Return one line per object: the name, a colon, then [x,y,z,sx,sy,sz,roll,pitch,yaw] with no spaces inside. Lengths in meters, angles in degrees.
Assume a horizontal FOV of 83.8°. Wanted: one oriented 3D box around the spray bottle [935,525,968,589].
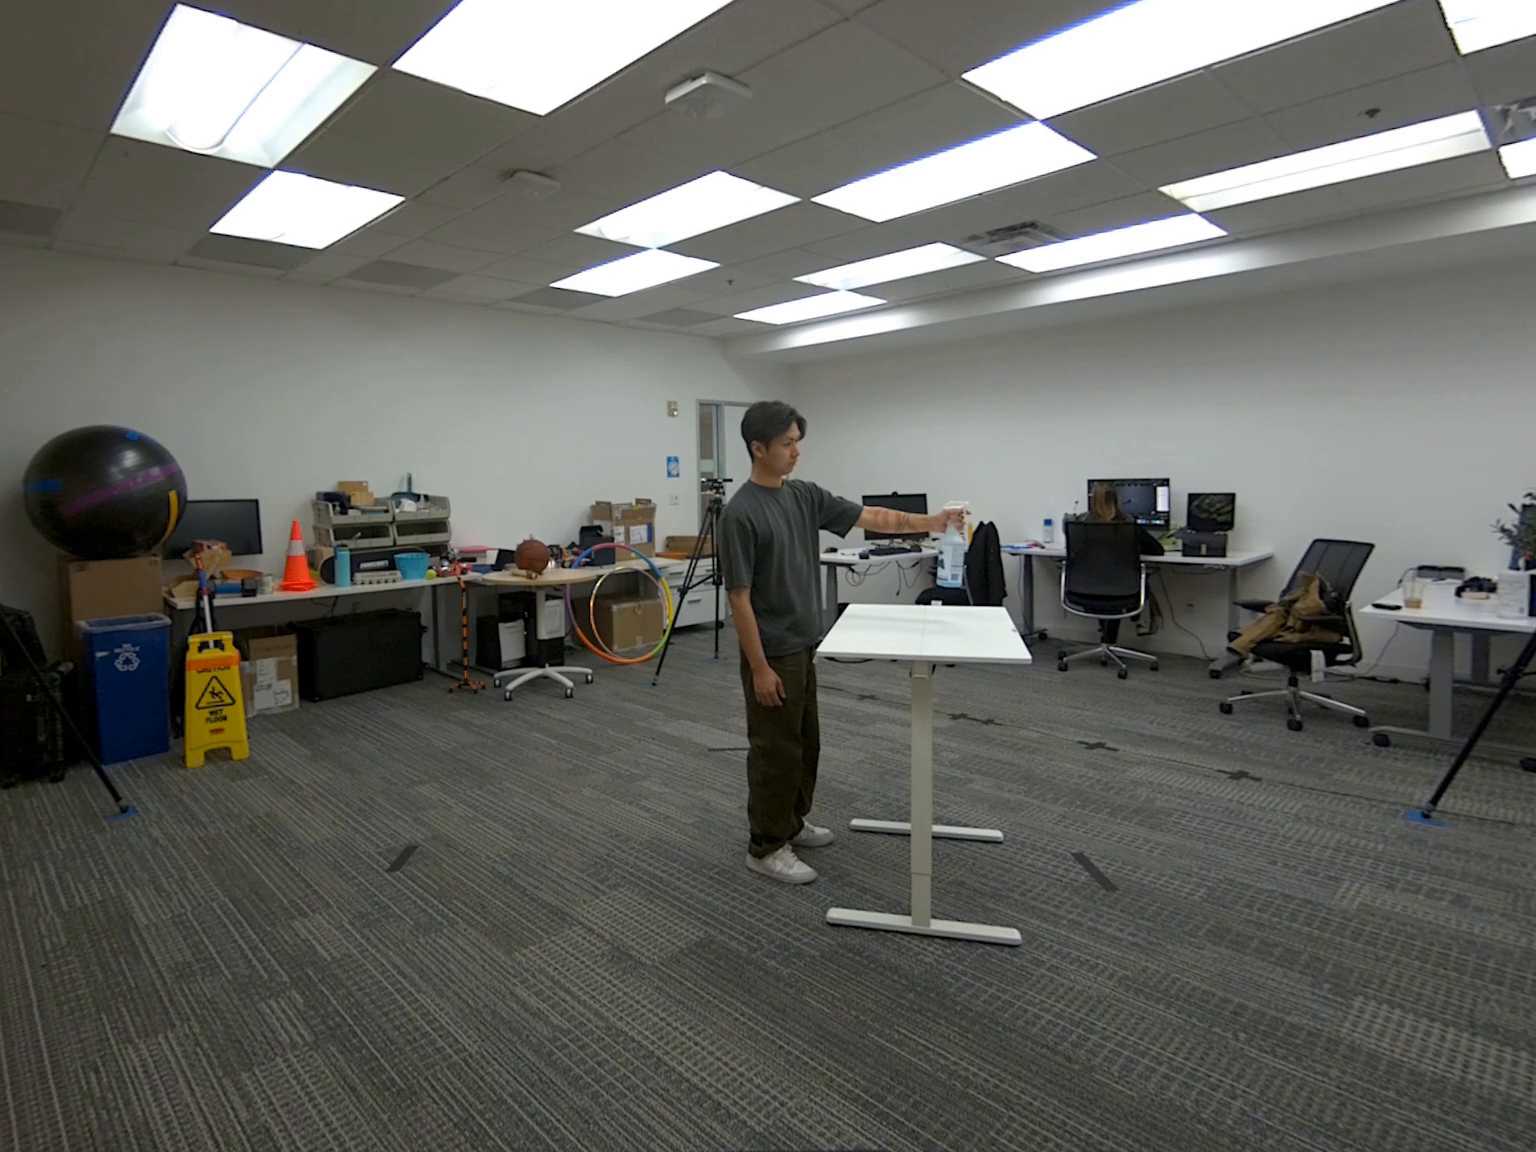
spray bottle: [0.645,-0.113,2.994,0.085,0.296,0.093,-2,7,-37]
